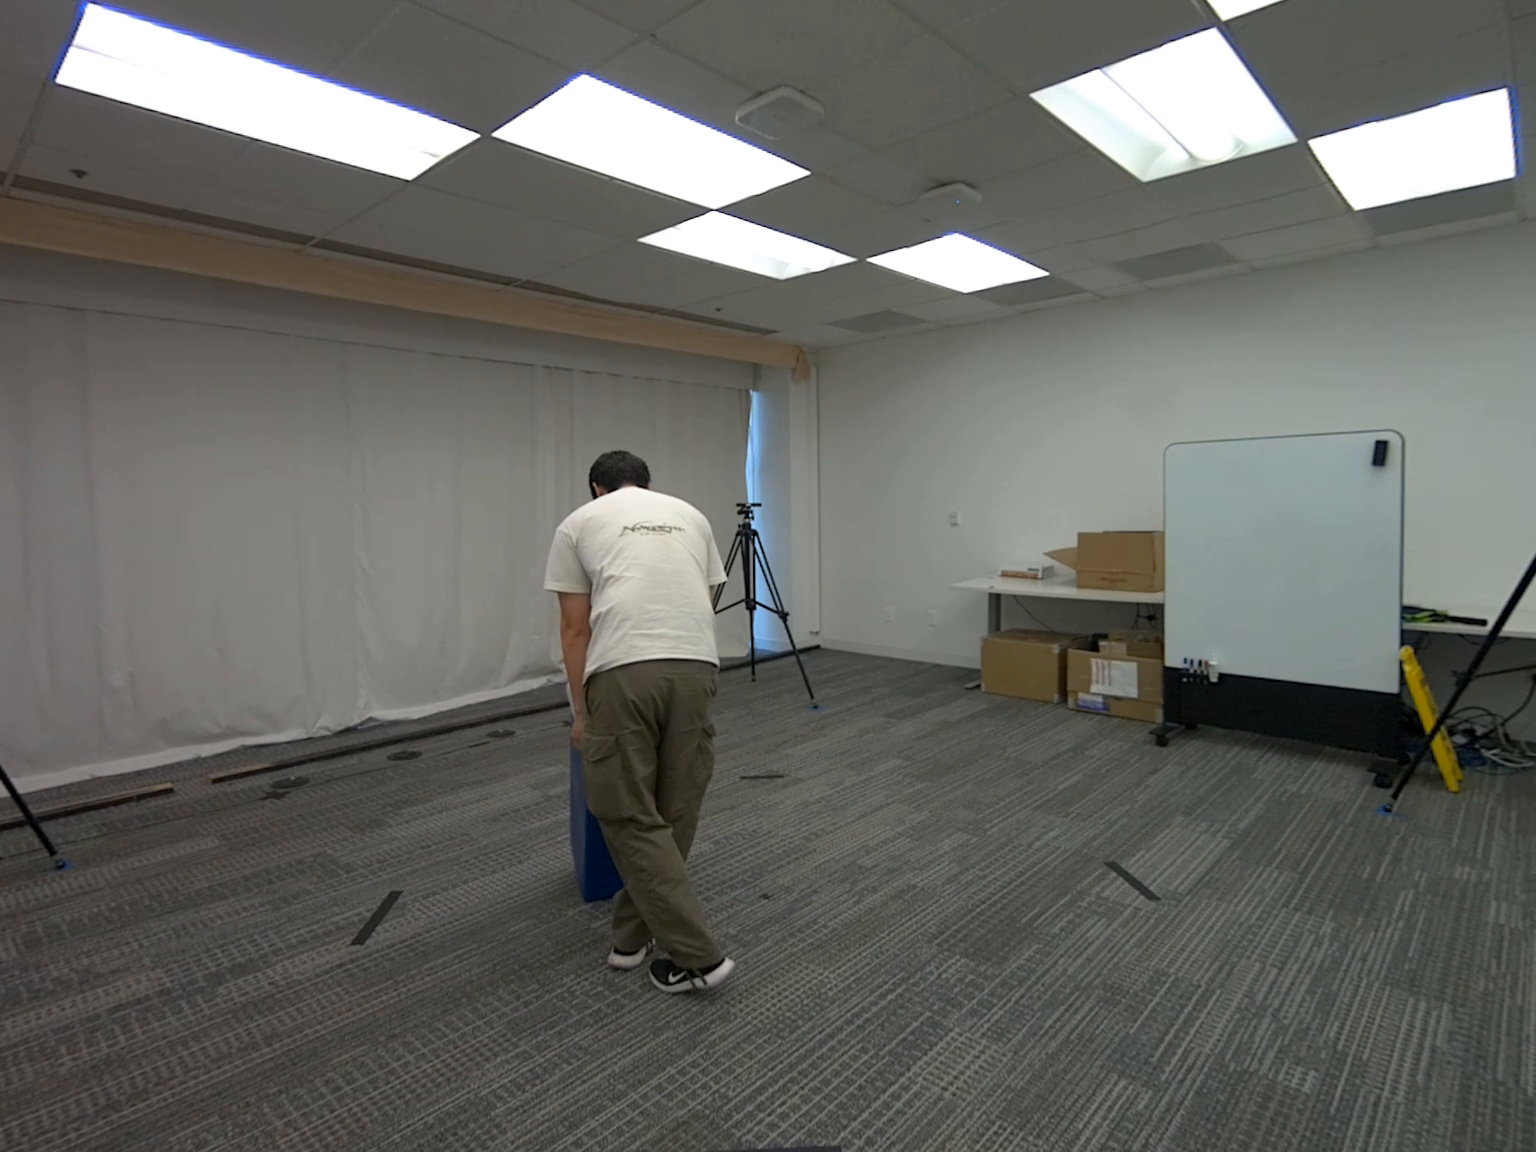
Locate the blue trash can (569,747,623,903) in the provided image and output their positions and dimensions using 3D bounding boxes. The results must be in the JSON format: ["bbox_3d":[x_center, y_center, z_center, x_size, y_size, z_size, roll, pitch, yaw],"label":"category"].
[{"bbox_3d":[-0.528,0.756,3.004,0.370,0.706,0.386,-2,25,-22],"label":"blue trash can"}]
